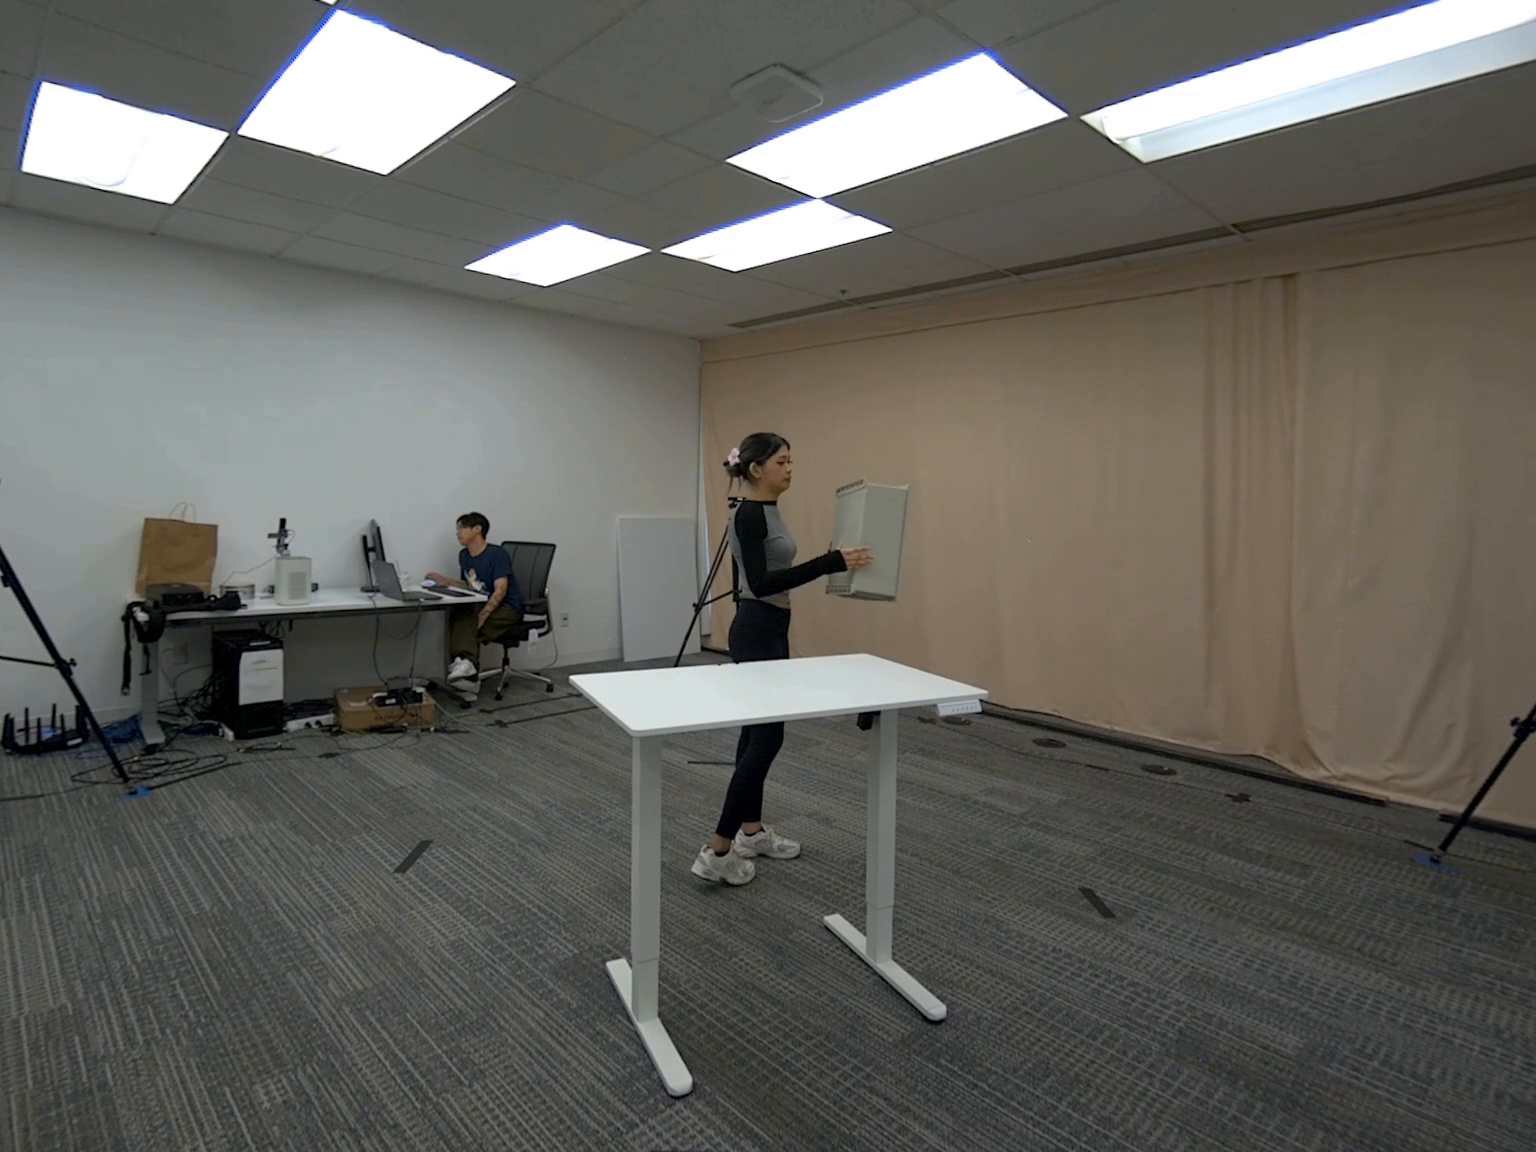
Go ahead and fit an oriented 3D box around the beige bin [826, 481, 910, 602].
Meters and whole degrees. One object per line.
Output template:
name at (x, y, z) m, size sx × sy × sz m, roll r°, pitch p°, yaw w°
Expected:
beige bin at (0.357, -0.125, 3.138) m, size 0.187 × 0.423 × 0.380 m, roll 8°, pitch -3°, yaw -11°
